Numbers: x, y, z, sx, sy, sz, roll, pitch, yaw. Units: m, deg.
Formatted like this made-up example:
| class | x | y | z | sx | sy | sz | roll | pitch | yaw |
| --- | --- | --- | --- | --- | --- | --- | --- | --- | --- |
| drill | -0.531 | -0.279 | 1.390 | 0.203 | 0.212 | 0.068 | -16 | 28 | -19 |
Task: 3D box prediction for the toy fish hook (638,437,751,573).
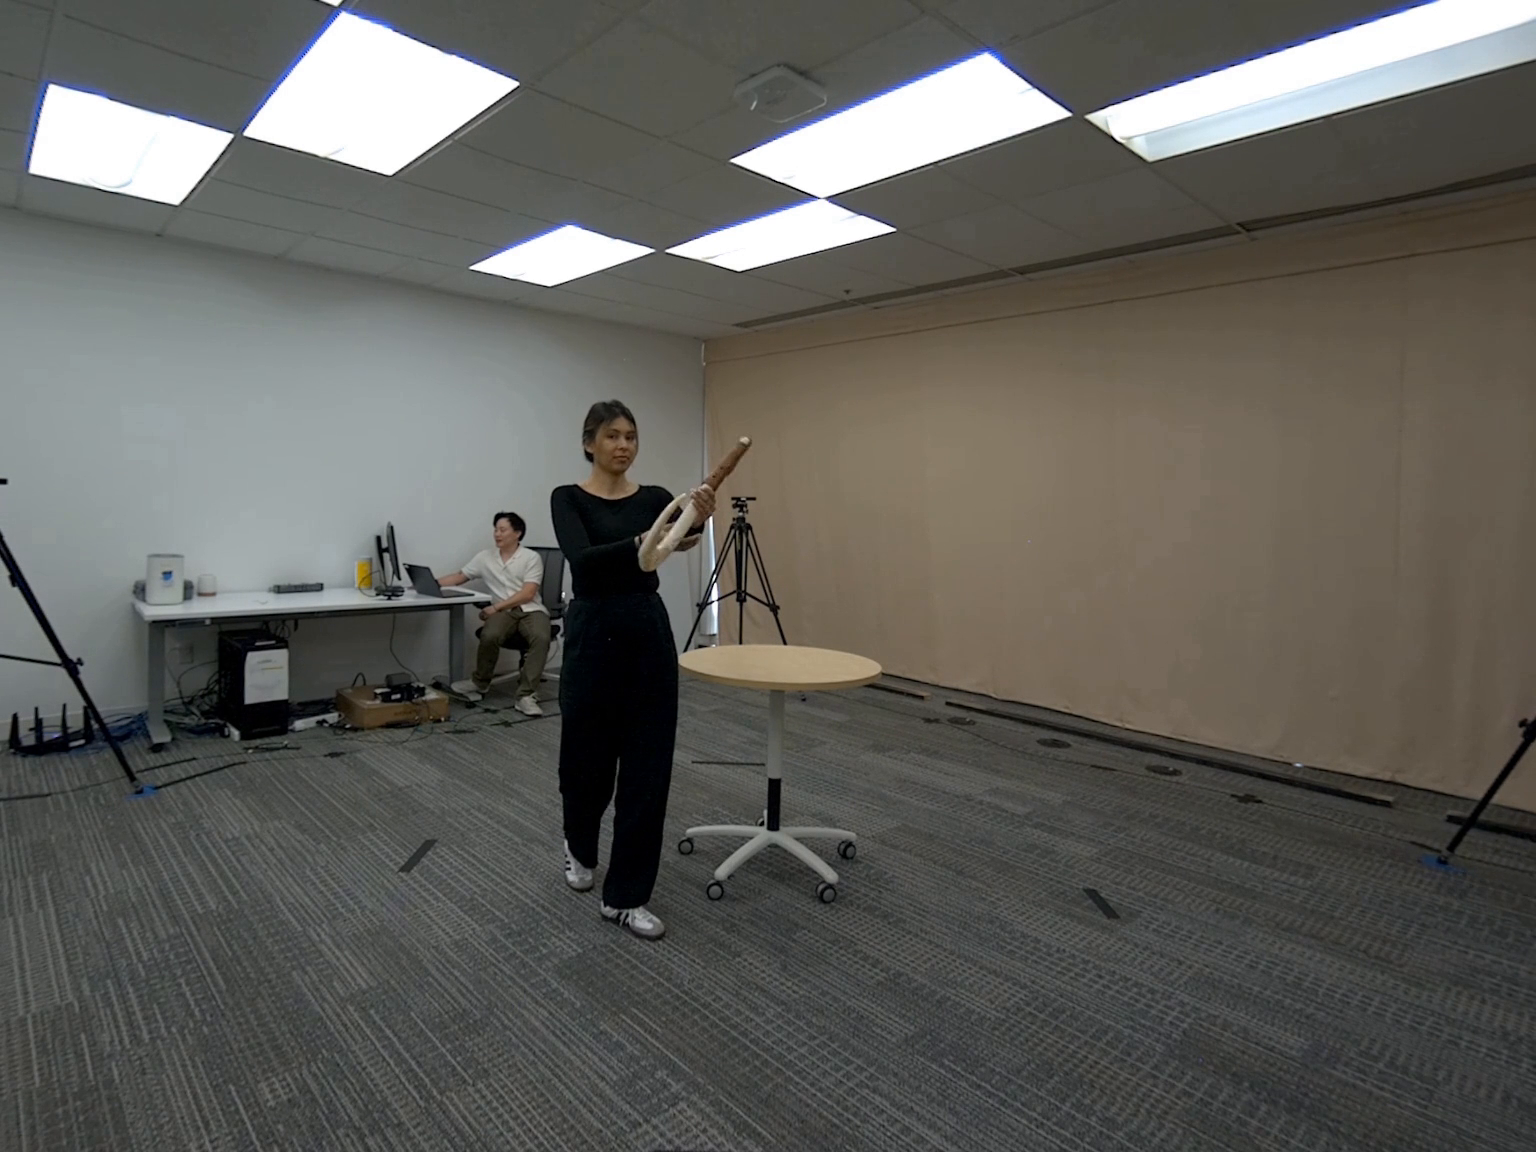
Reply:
| class | x | y | z | sx | sy | sz | roll | pitch | yaw |
| --- | --- | --- | --- | --- | --- | --- | --- | --- | --- |
| toy fish hook | -0.194 | -0.219 | 2.263 | 0.048 | 0.508 | 0.222 | 32 | -22 | 5 |
